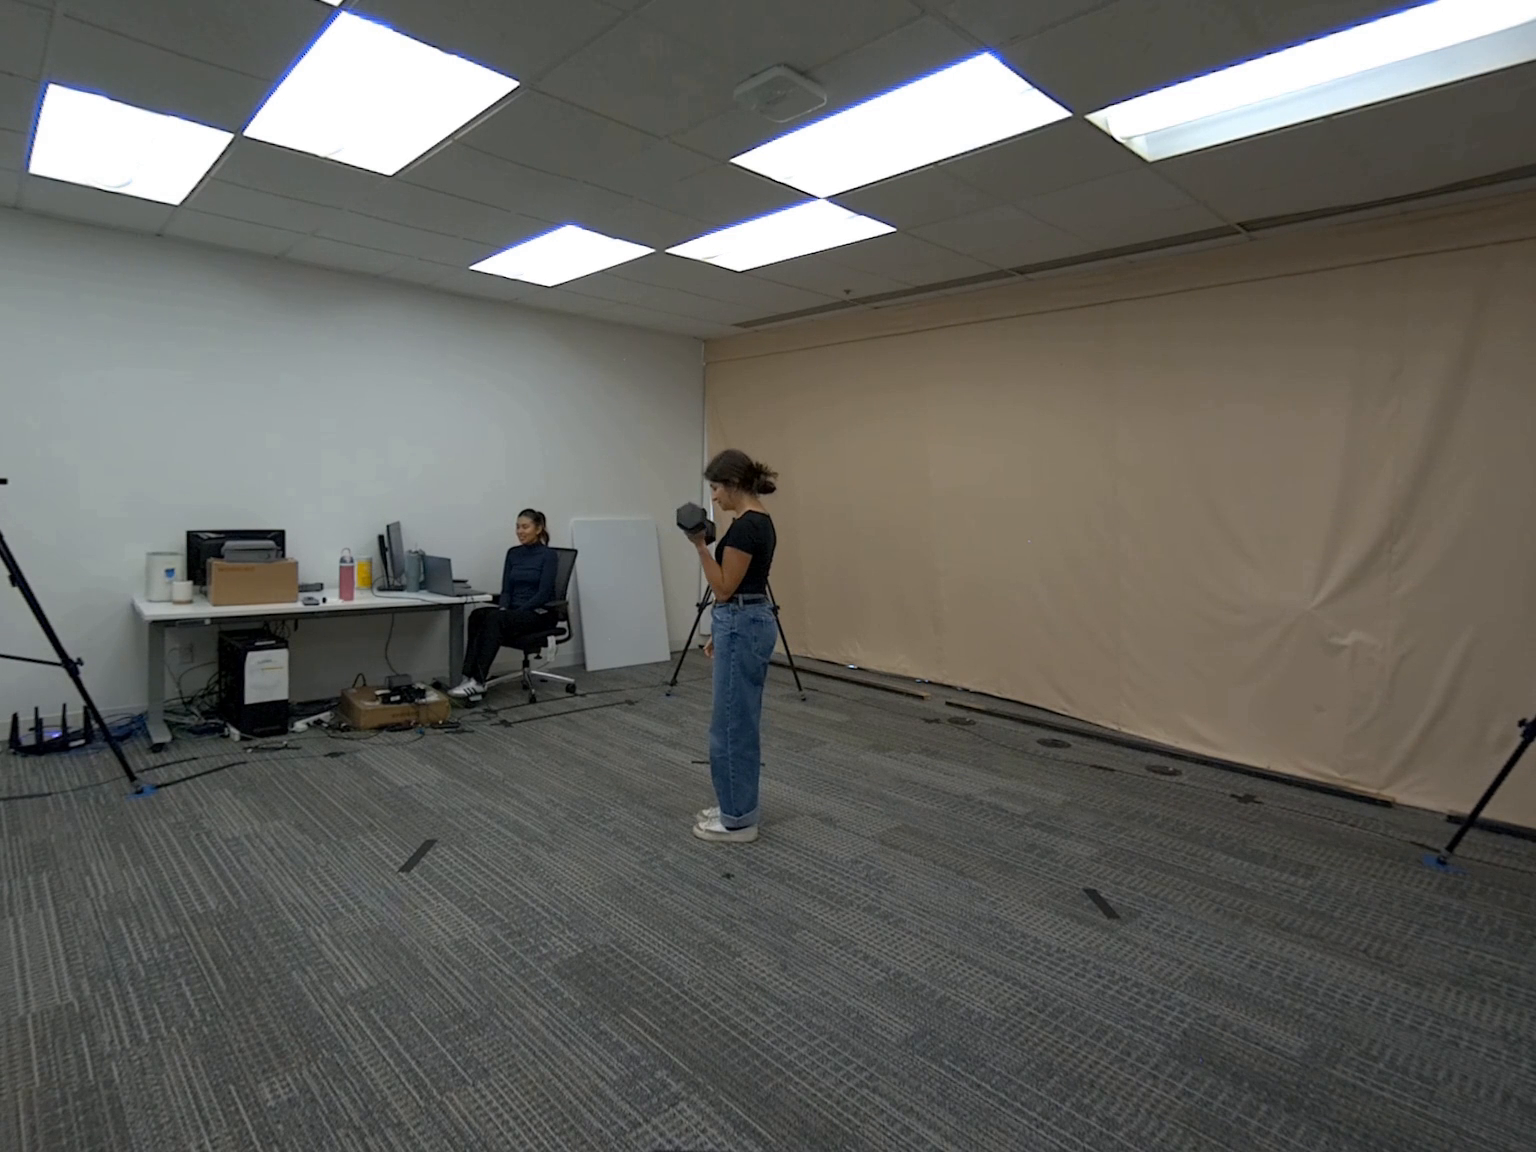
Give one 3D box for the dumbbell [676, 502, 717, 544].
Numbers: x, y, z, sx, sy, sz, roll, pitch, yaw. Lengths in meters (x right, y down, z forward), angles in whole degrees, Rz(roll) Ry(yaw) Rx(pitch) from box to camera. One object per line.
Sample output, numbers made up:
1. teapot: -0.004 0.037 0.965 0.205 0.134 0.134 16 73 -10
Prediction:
1. dumbbell: -0.286 -0.194 3.295 0.109 0.124 0.289 0 -11 6
